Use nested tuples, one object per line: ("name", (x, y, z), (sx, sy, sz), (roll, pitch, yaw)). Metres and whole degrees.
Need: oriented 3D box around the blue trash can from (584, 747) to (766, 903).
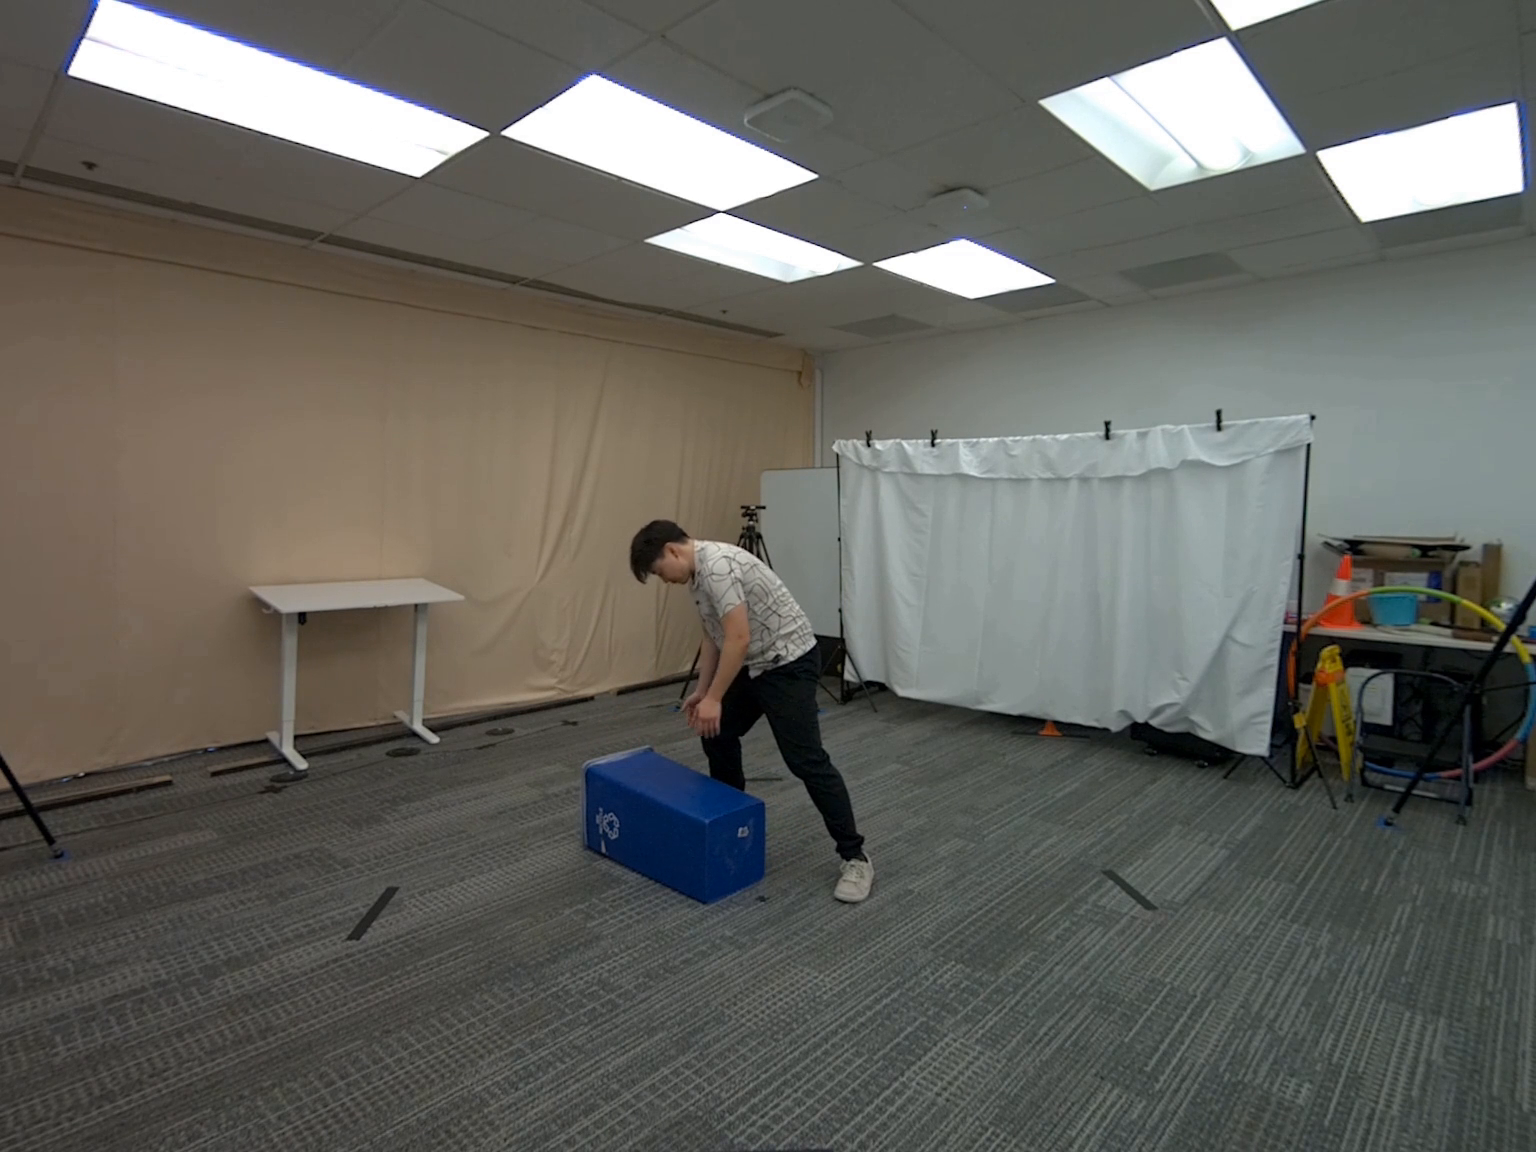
("blue trash can", (-0.370, 0.950, 3.271), (0.362, 0.377, 0.738), (-4, 7, -45))
